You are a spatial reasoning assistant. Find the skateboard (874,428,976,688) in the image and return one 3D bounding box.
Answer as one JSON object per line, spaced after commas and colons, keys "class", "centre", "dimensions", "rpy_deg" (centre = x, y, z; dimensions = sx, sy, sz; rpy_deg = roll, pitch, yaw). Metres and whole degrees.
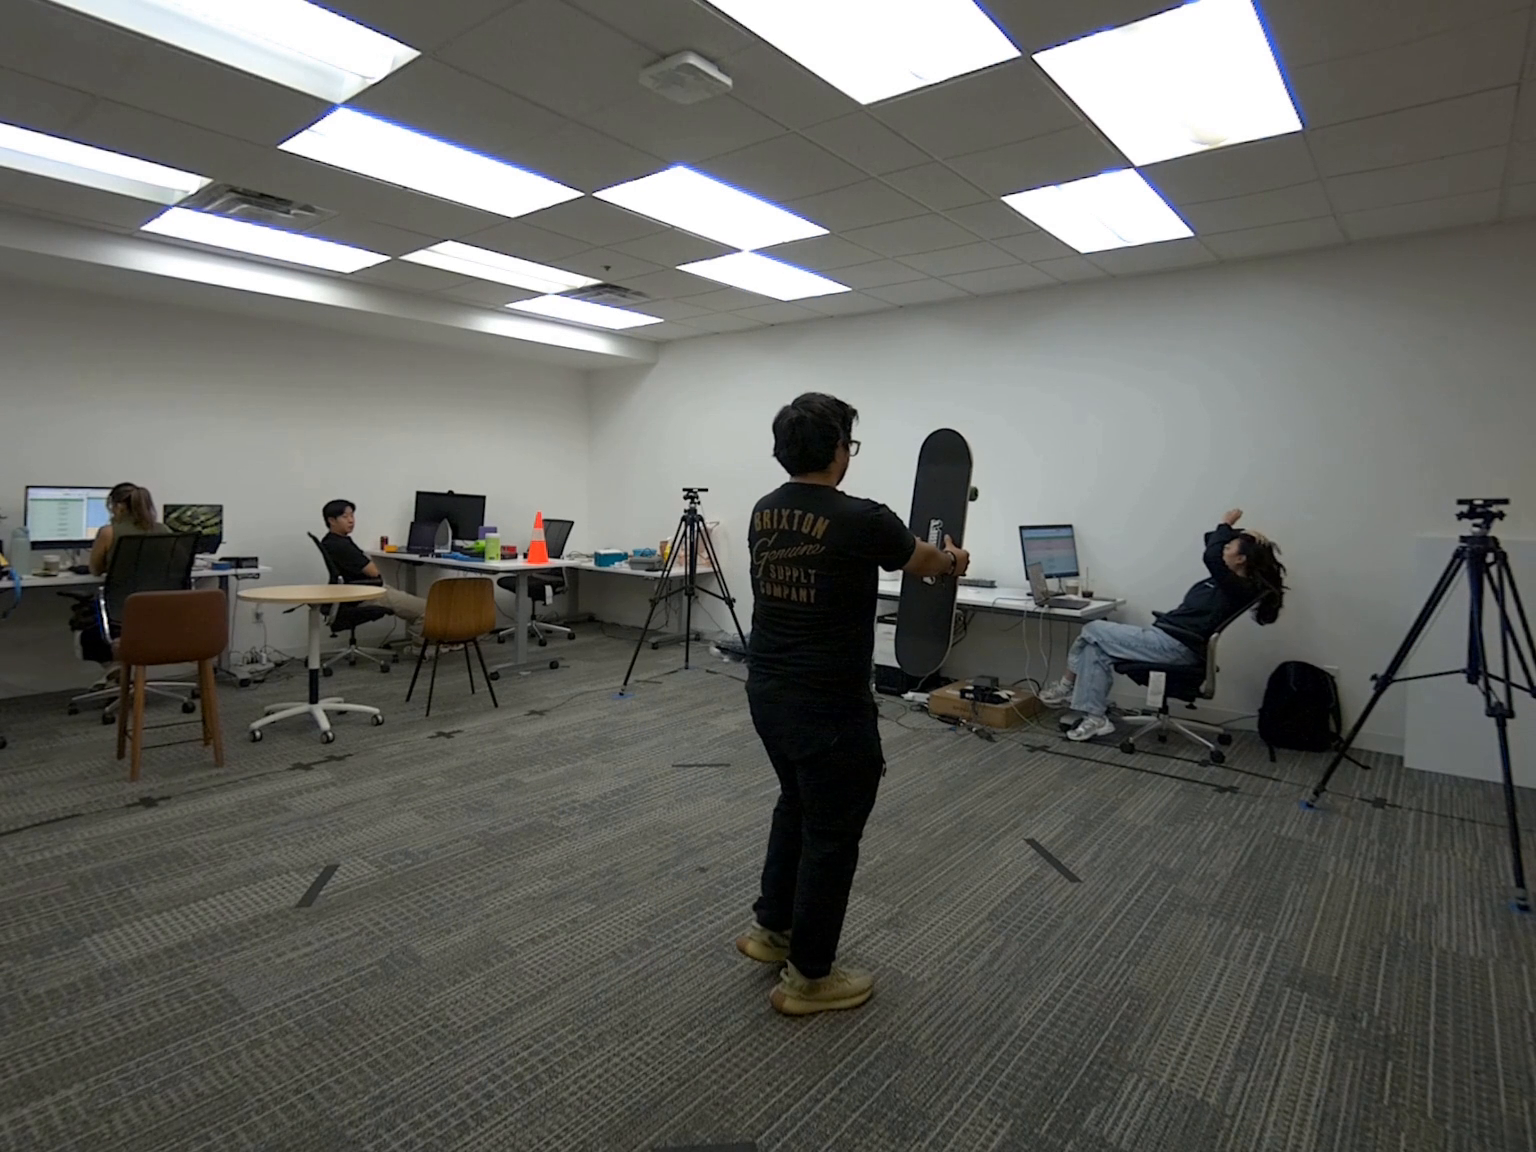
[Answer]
{"class": "skateboard", "centre": [0.532, -0.075, 2.723], "dimensions": [0.200, 0.788, 0.106], "rpy_deg": [5, -6, 40]}
